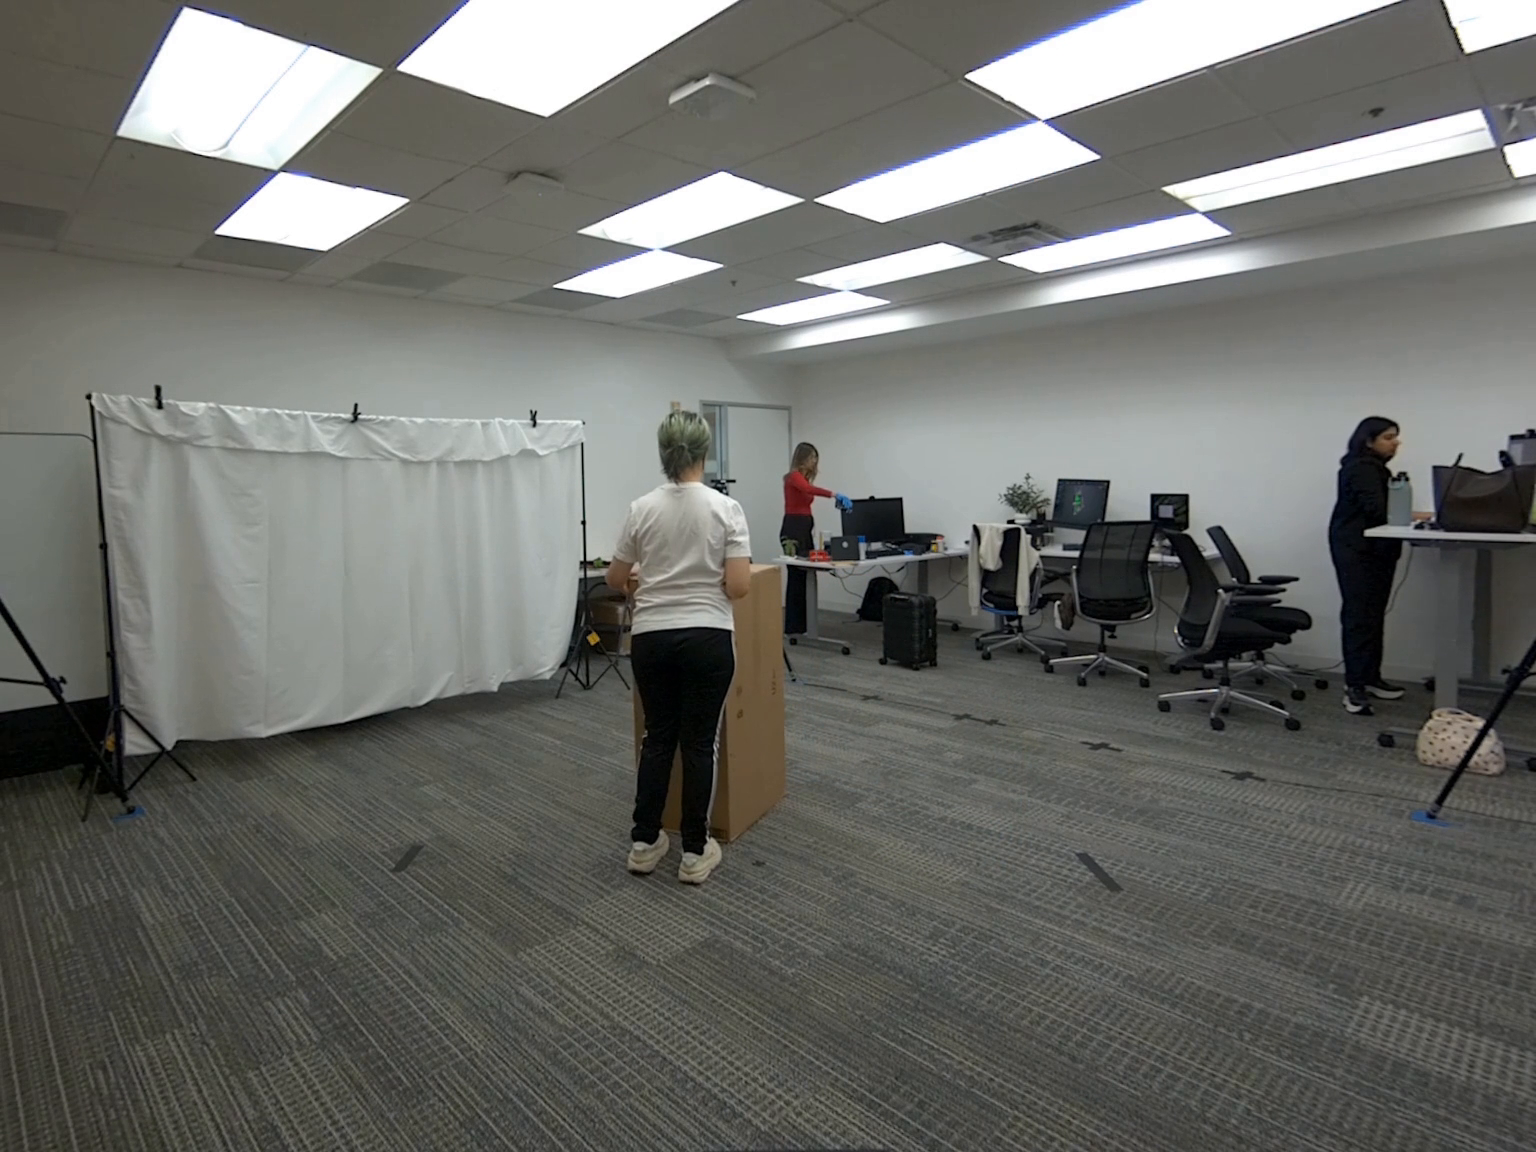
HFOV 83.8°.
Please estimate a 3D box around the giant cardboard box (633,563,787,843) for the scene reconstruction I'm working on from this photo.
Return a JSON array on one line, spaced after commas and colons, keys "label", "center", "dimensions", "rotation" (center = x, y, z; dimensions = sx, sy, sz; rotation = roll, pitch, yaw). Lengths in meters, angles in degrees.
[{"label": "giant cardboard box", "center": [-0.234, 0.490, 3.597], "dimensions": [0.436, 1.022, 0.566], "rotation": [1, 5, 26]}]
